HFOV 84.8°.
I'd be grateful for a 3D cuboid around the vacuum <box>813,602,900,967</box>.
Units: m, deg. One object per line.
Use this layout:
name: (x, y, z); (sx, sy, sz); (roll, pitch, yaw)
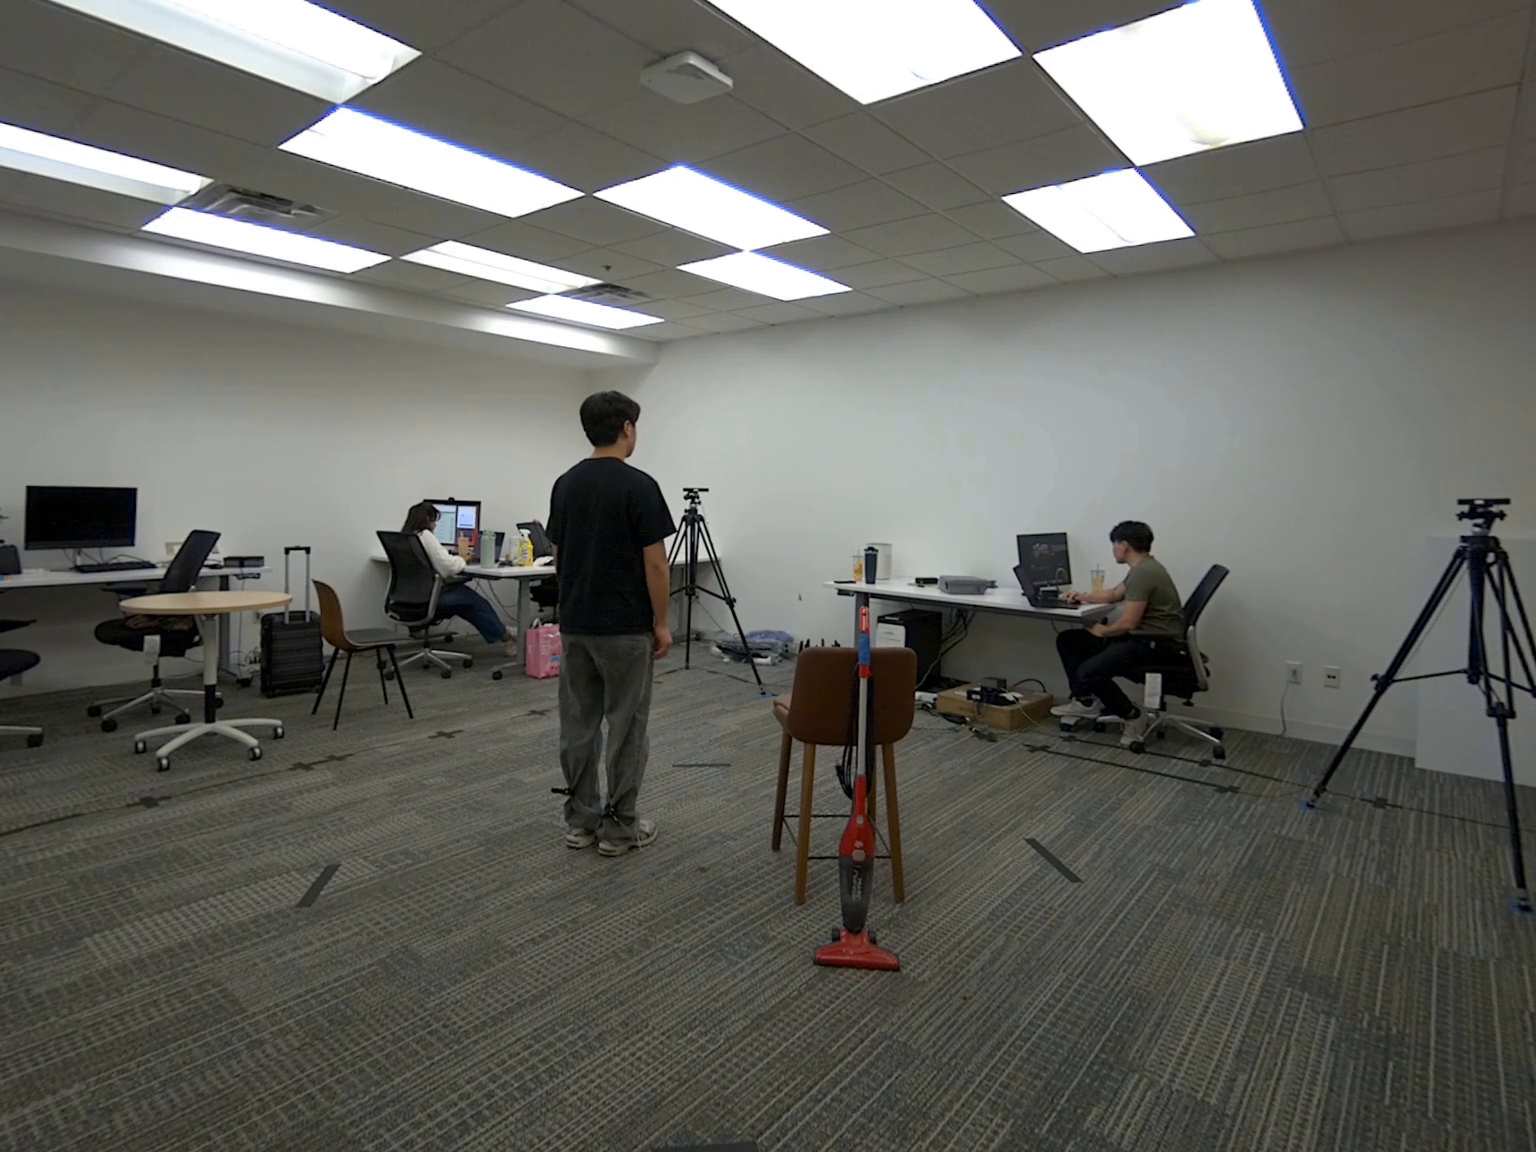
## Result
vacuum: (0.286, 0.619, 2.684); (0.252, 1.063, 0.142); (4, -15, -2)
